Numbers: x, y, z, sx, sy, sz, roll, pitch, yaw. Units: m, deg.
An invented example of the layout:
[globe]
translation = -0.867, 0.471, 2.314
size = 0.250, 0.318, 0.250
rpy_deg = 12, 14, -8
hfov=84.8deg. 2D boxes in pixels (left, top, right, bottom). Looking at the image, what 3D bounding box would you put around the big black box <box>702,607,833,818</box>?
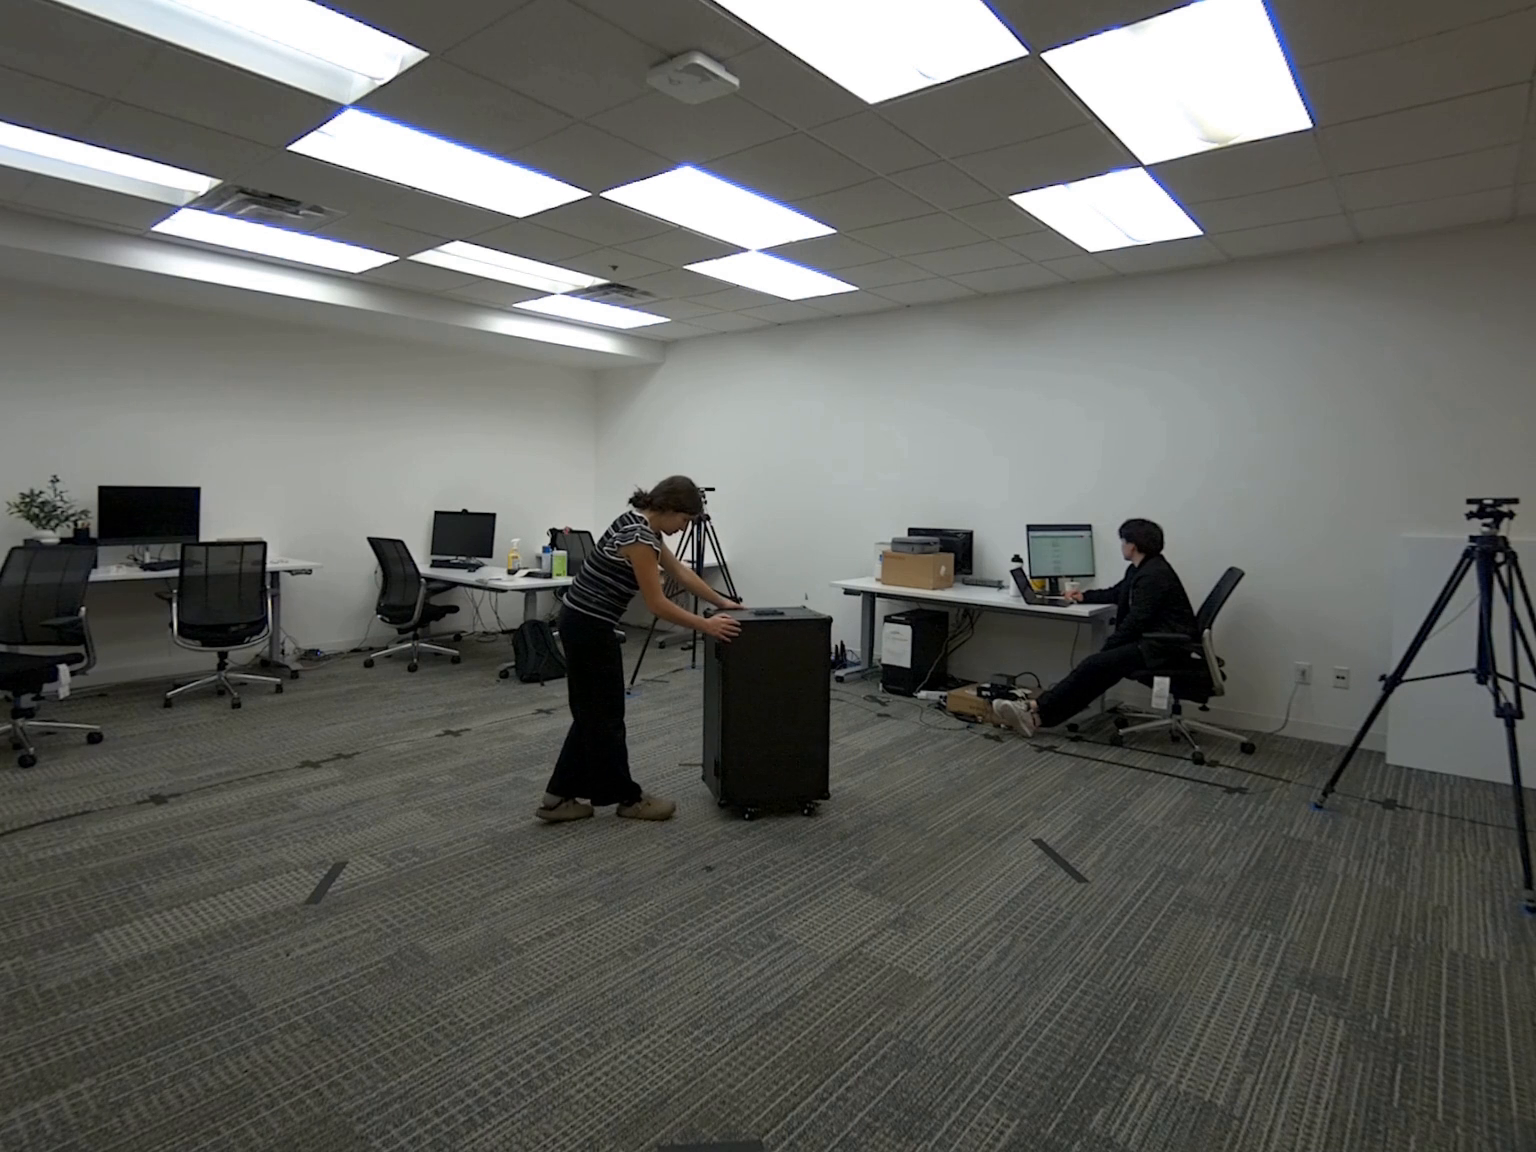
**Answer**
[big black box]
translation = -0.033, 0.588, 3.740
size = 0.514, 0.860, 0.403
rpy_deg = -1, 2, -14
